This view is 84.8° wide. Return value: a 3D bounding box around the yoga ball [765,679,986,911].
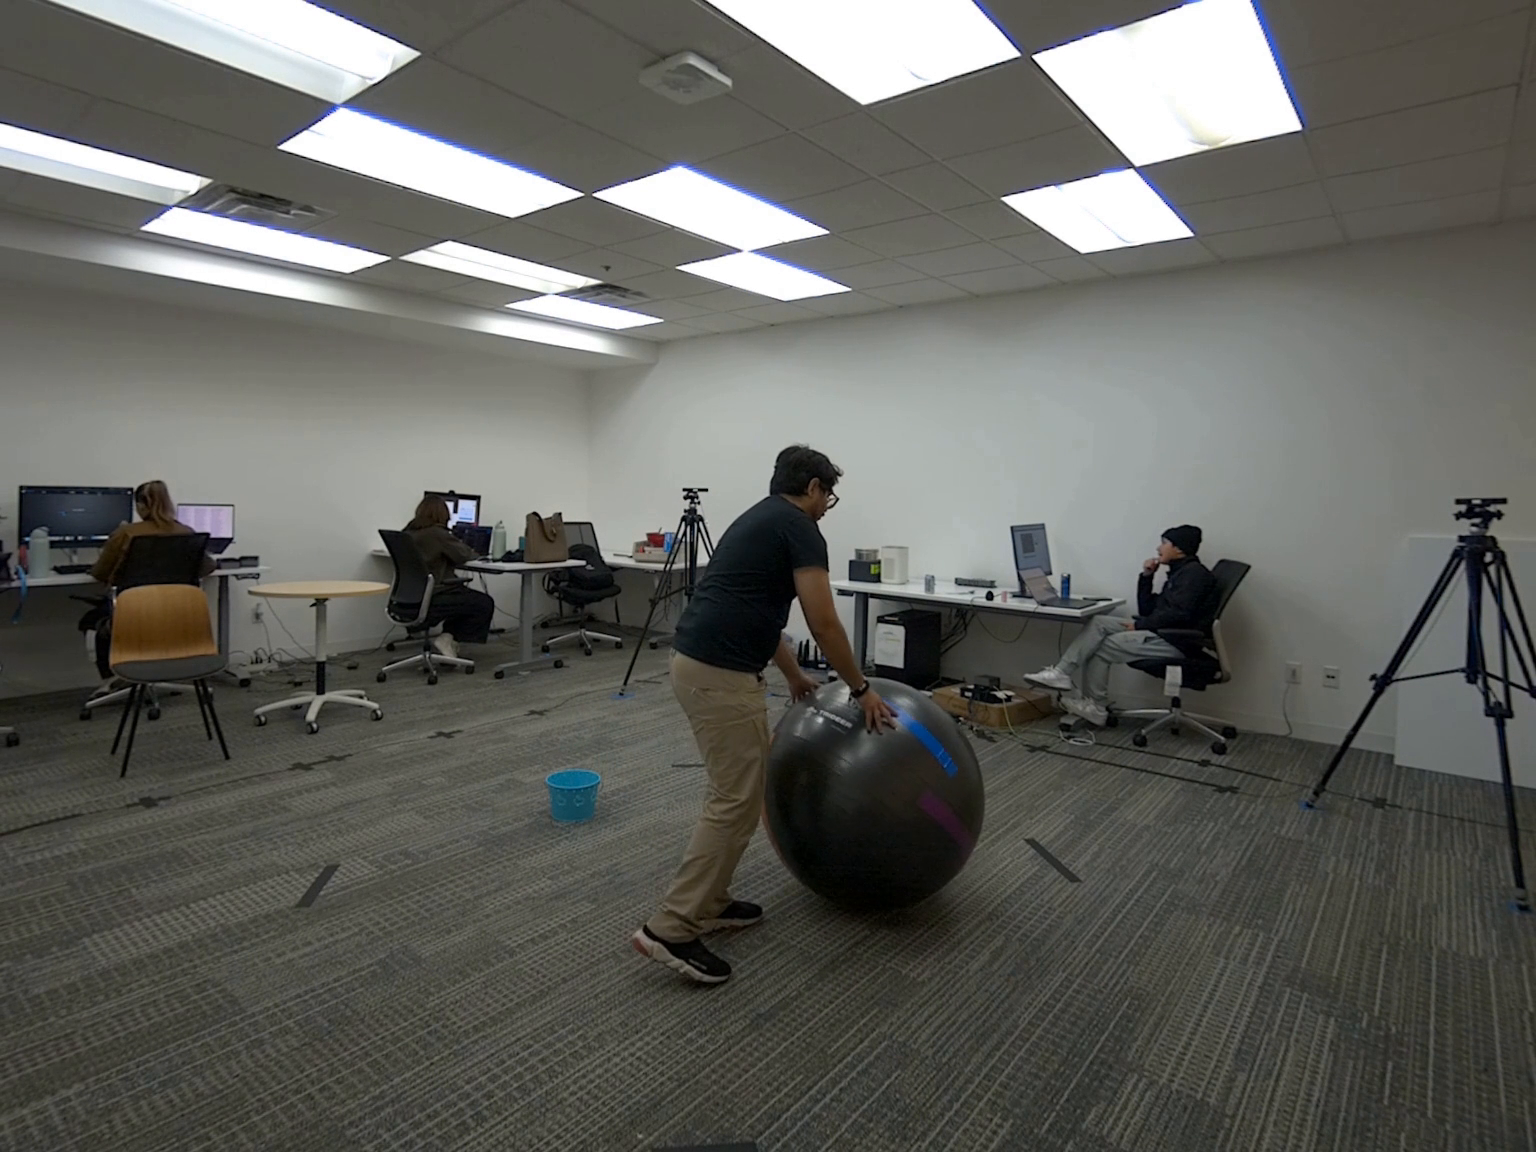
[{"bbox_3d":[0.343,0.732,2.910,0.757,0.755,0.762,1,4,-2],"label":"yoga ball"}]
